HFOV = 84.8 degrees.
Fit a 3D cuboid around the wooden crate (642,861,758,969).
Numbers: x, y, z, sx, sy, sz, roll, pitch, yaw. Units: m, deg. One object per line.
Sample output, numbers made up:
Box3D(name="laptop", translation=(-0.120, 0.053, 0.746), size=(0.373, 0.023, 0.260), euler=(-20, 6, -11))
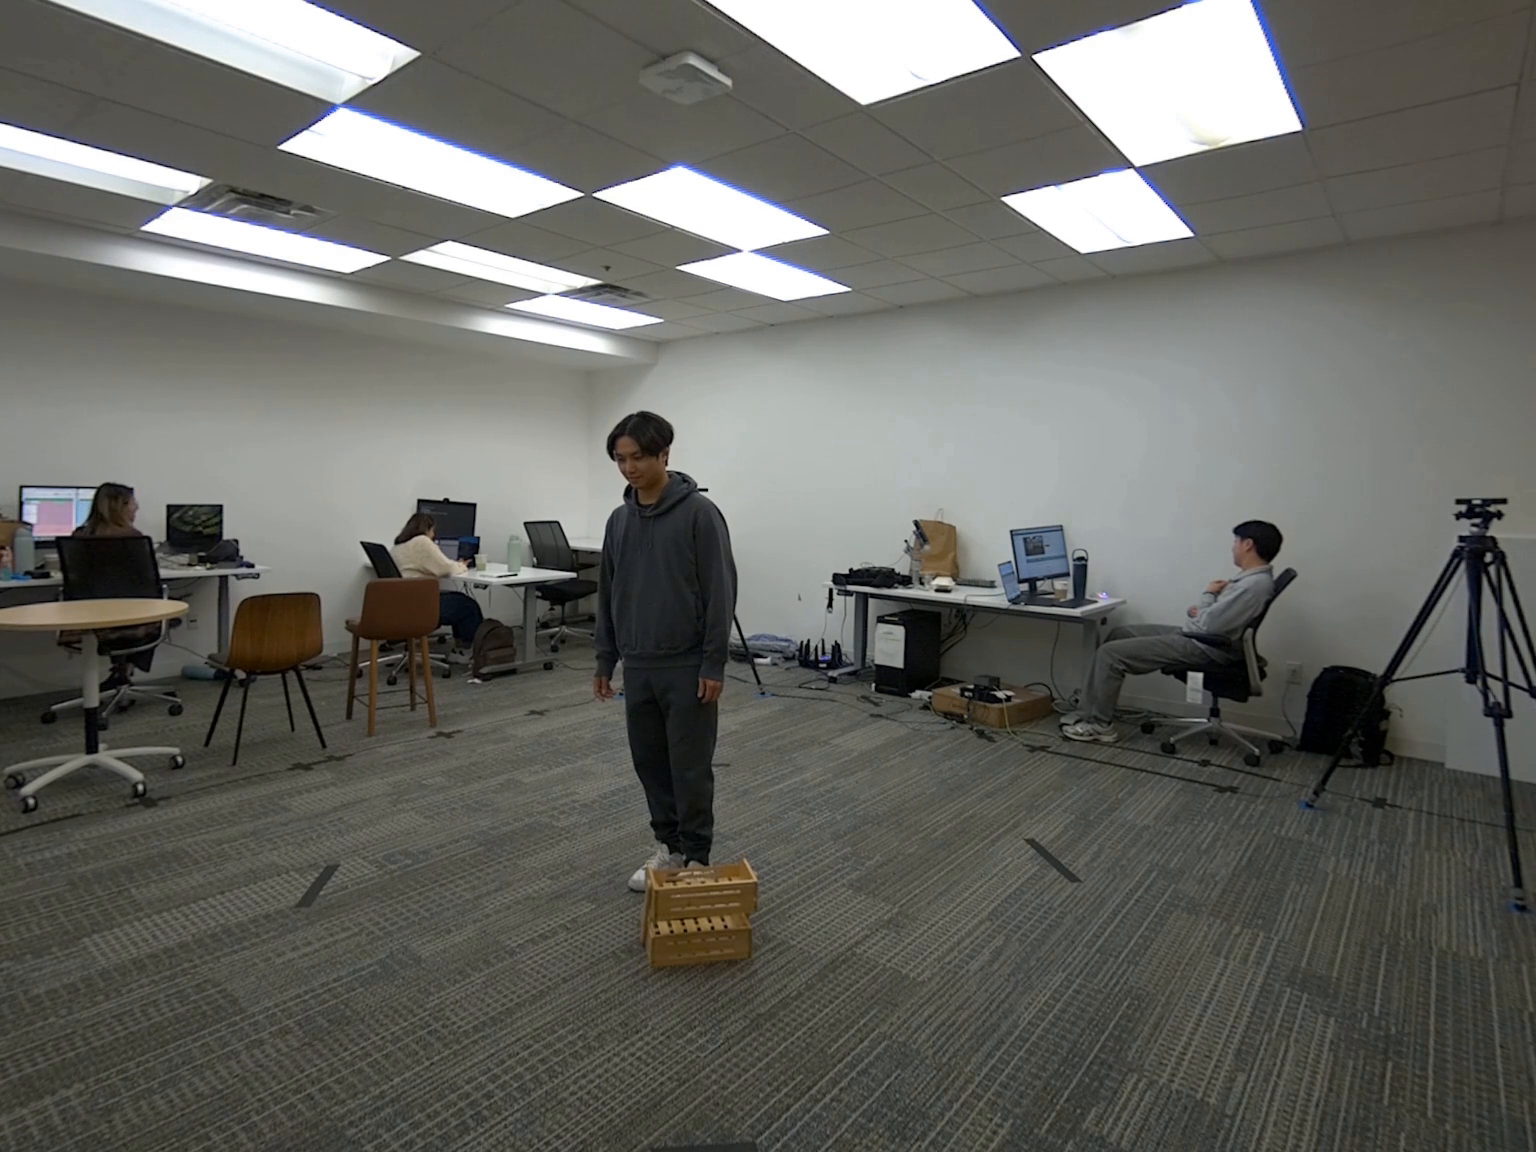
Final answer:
Box3D(name="wooden crate", translation=(-0.227, 0.985, 2.583), size=(0.320, 0.272, 0.308), euler=(0, 5, -14))
